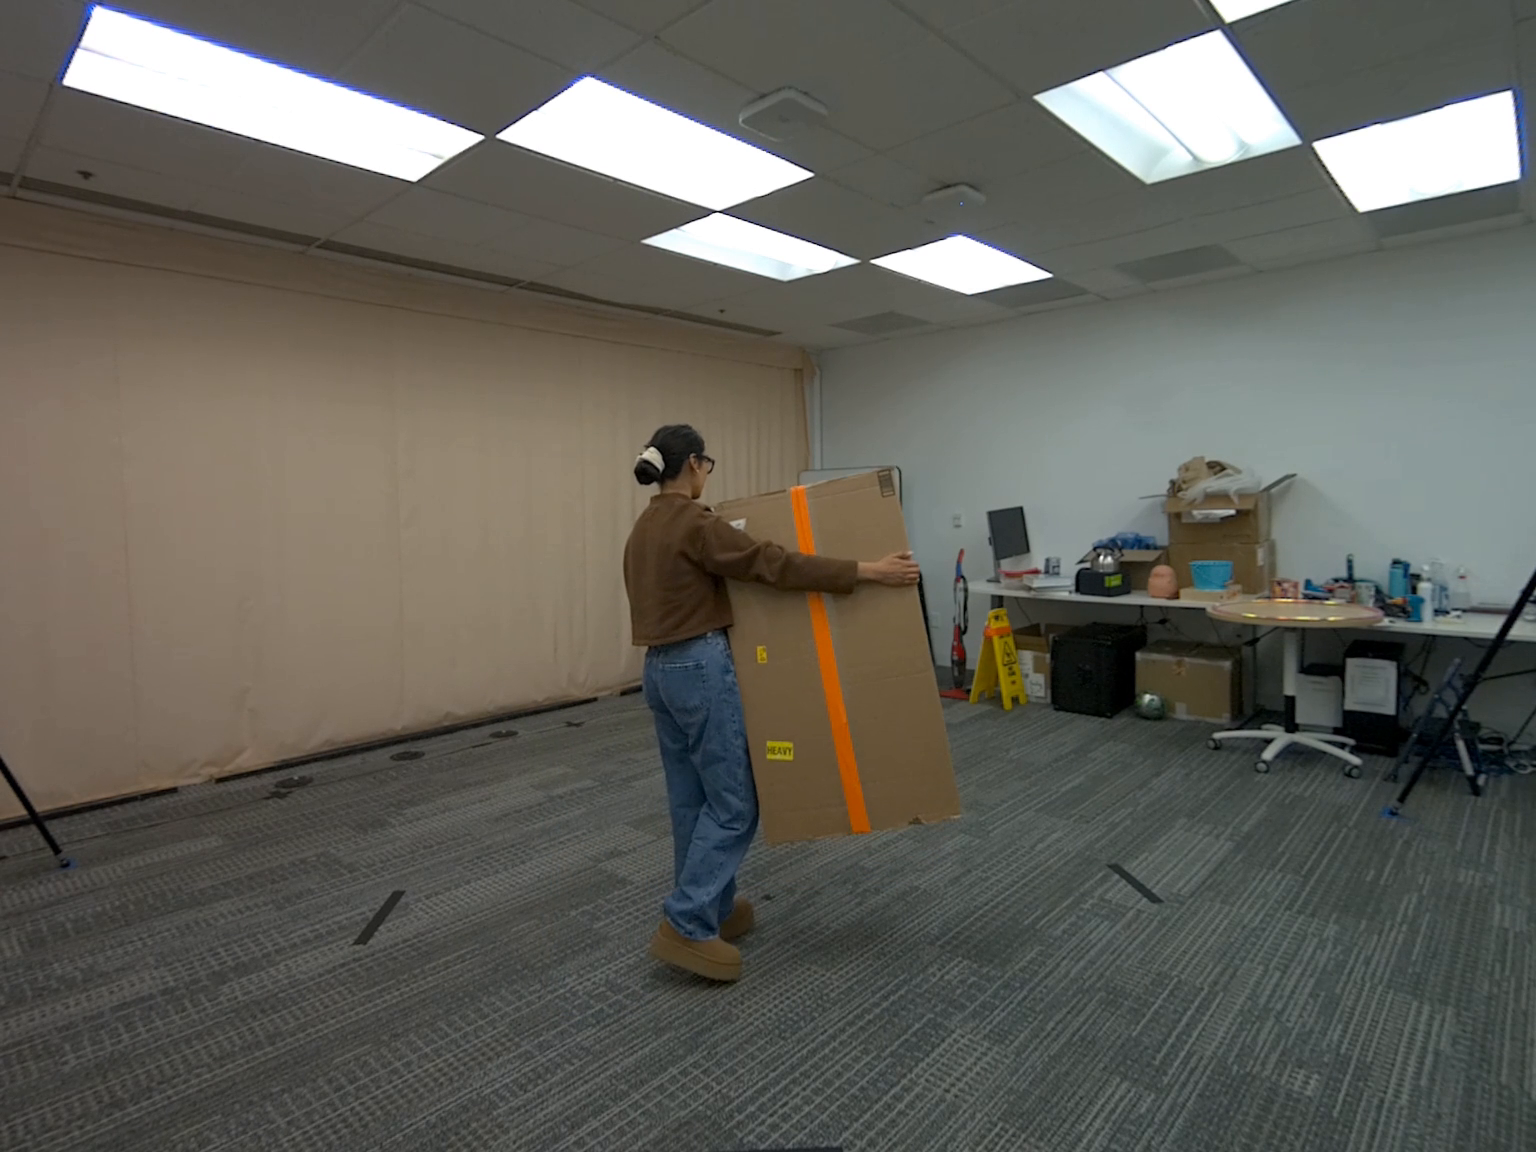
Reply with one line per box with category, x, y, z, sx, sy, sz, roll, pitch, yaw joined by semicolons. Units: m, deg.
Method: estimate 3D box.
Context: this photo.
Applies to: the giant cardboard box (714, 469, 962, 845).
giant cardboard box;0.203;0.249;2.663;0.582;1.029;0.421;-11;-4;8
